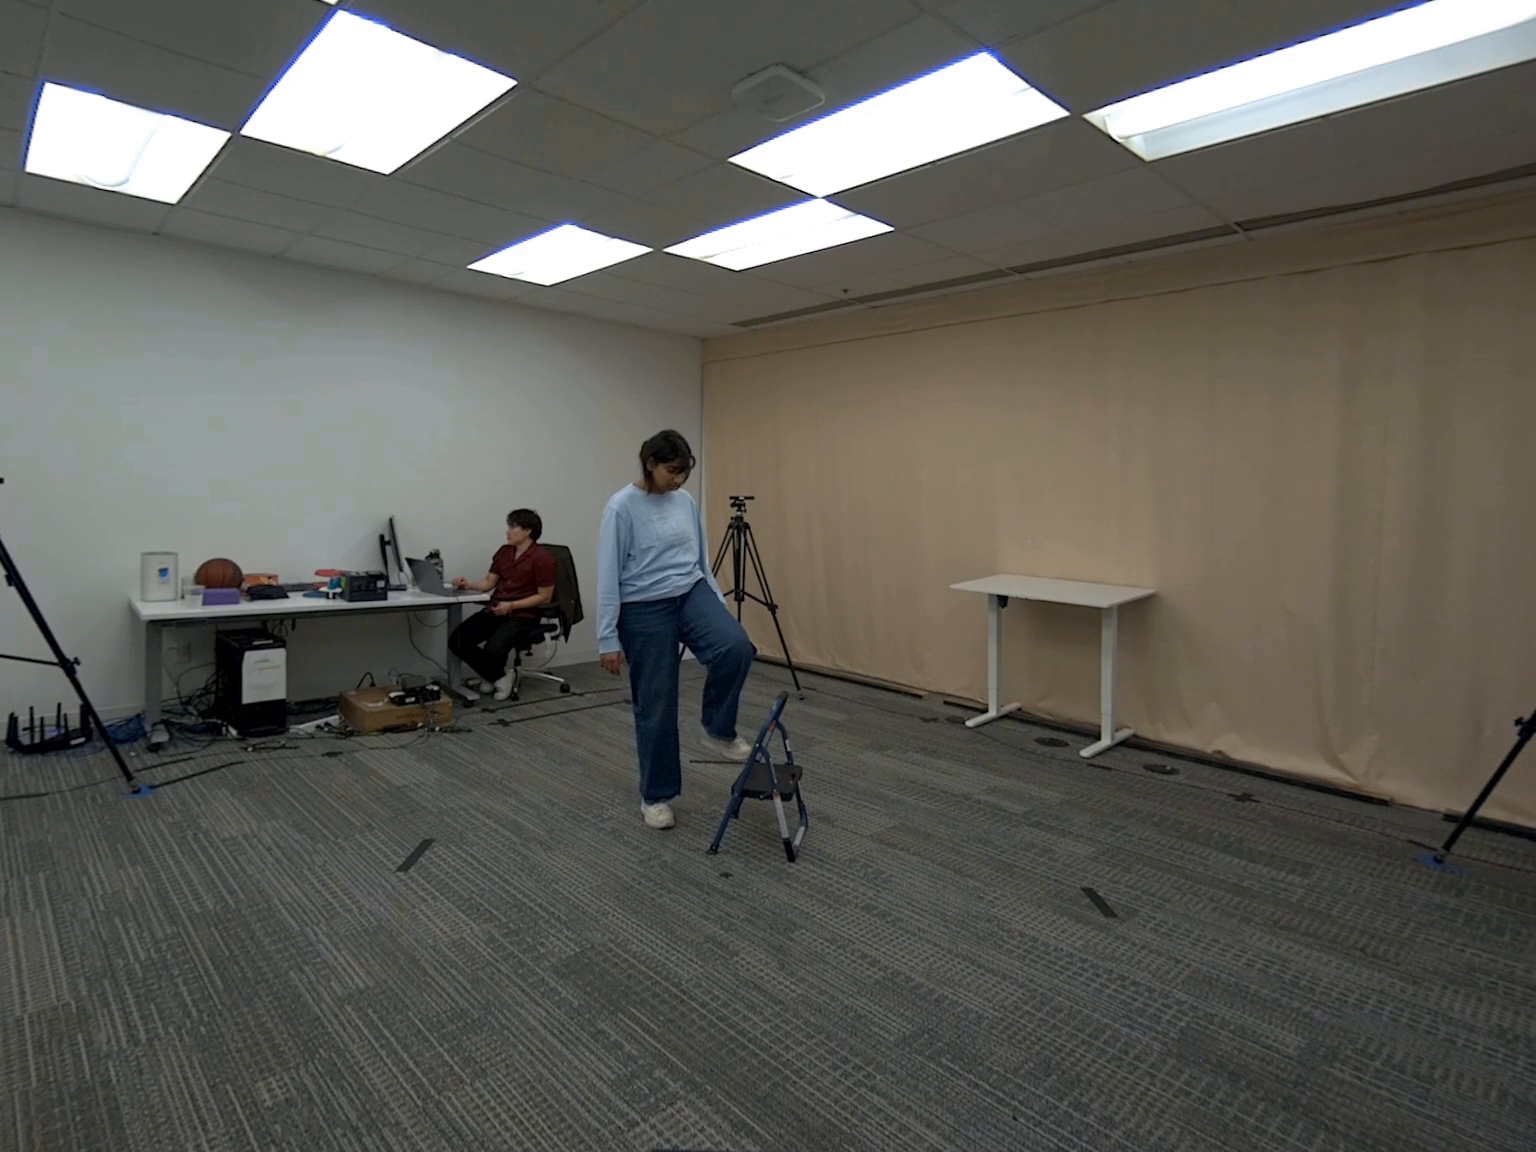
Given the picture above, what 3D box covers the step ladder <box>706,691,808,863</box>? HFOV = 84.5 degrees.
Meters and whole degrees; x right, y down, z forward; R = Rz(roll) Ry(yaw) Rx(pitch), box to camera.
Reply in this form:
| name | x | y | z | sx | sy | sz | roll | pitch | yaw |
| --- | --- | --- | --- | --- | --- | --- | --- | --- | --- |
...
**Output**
| name | x | y | z | sx | sy | sz | roll | pitch | yaw |
| --- | --- | --- | --- | --- | --- | --- | --- | --- | --- |
| step ladder | -0.028 | 0.777 | 3.438 | 0.352 | 0.605 | 0.427 | 2 | 3 | 11 |
